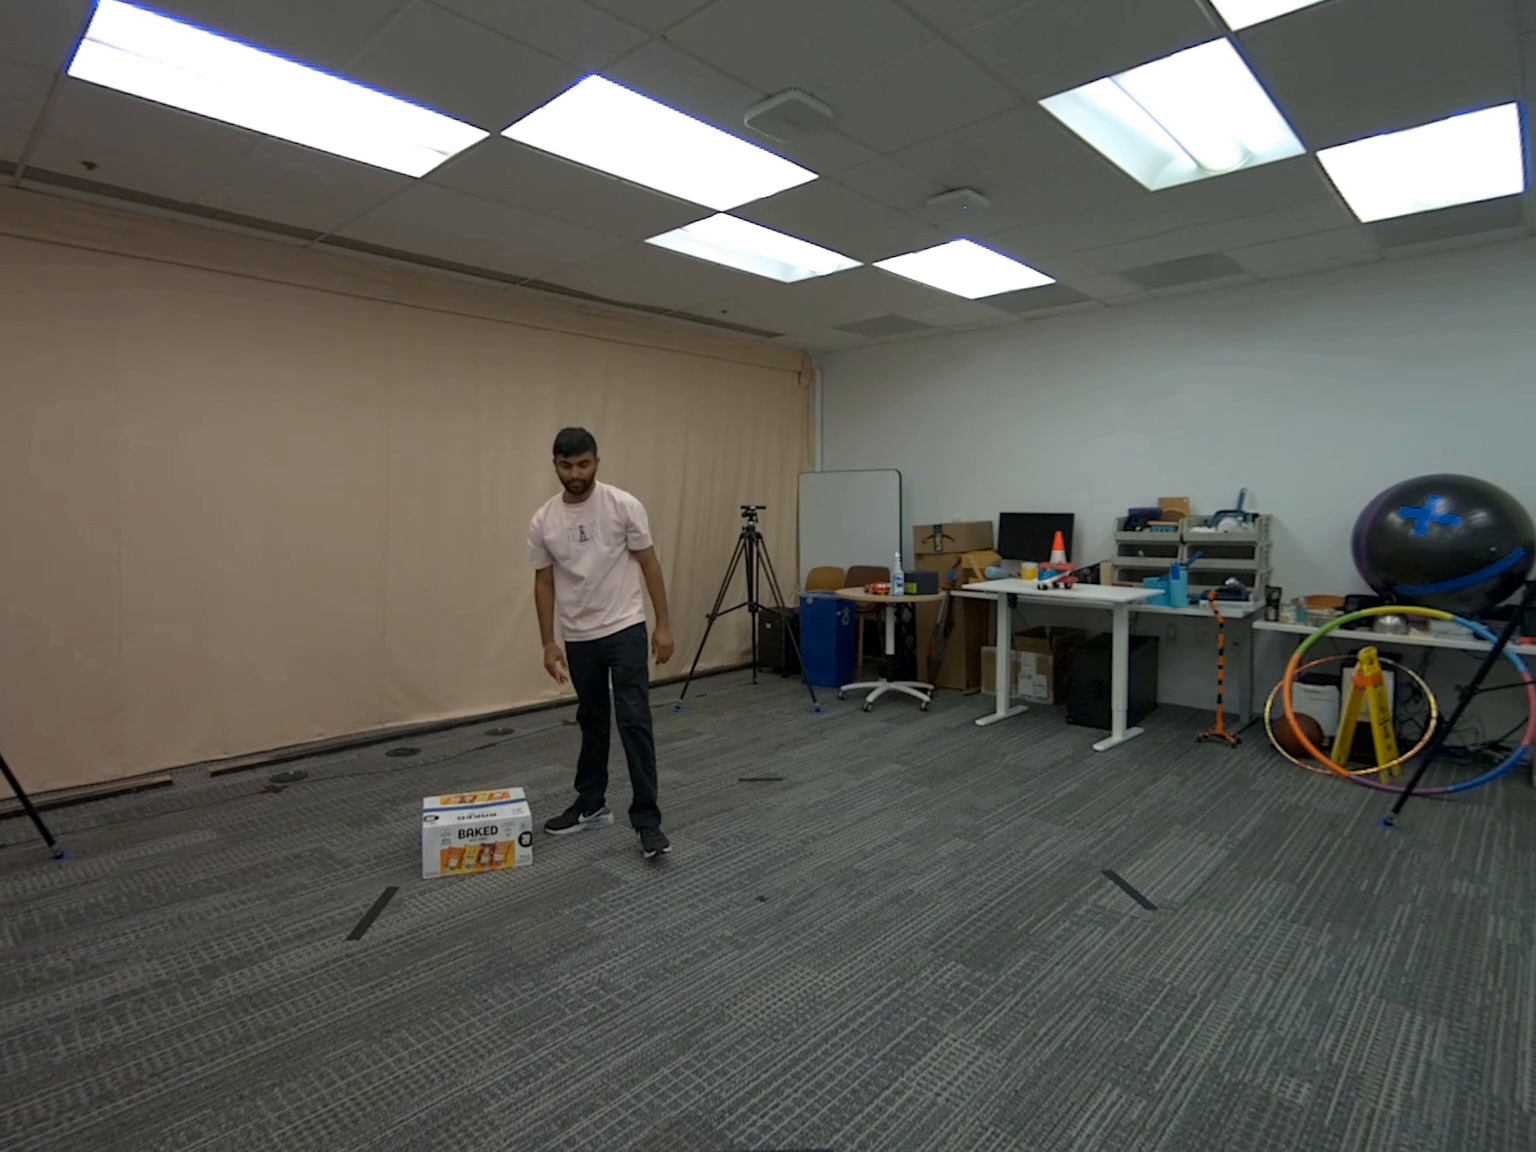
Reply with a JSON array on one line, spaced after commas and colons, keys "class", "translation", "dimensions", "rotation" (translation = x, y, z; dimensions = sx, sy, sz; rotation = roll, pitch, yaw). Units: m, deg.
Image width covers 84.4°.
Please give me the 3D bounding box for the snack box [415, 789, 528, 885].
[{"class": "snack box", "translation": [-1.183, 1.024, 3.366], "dimensions": [0.397, 0.205, 0.348], "rotation": [-1, 4, -20]}]
